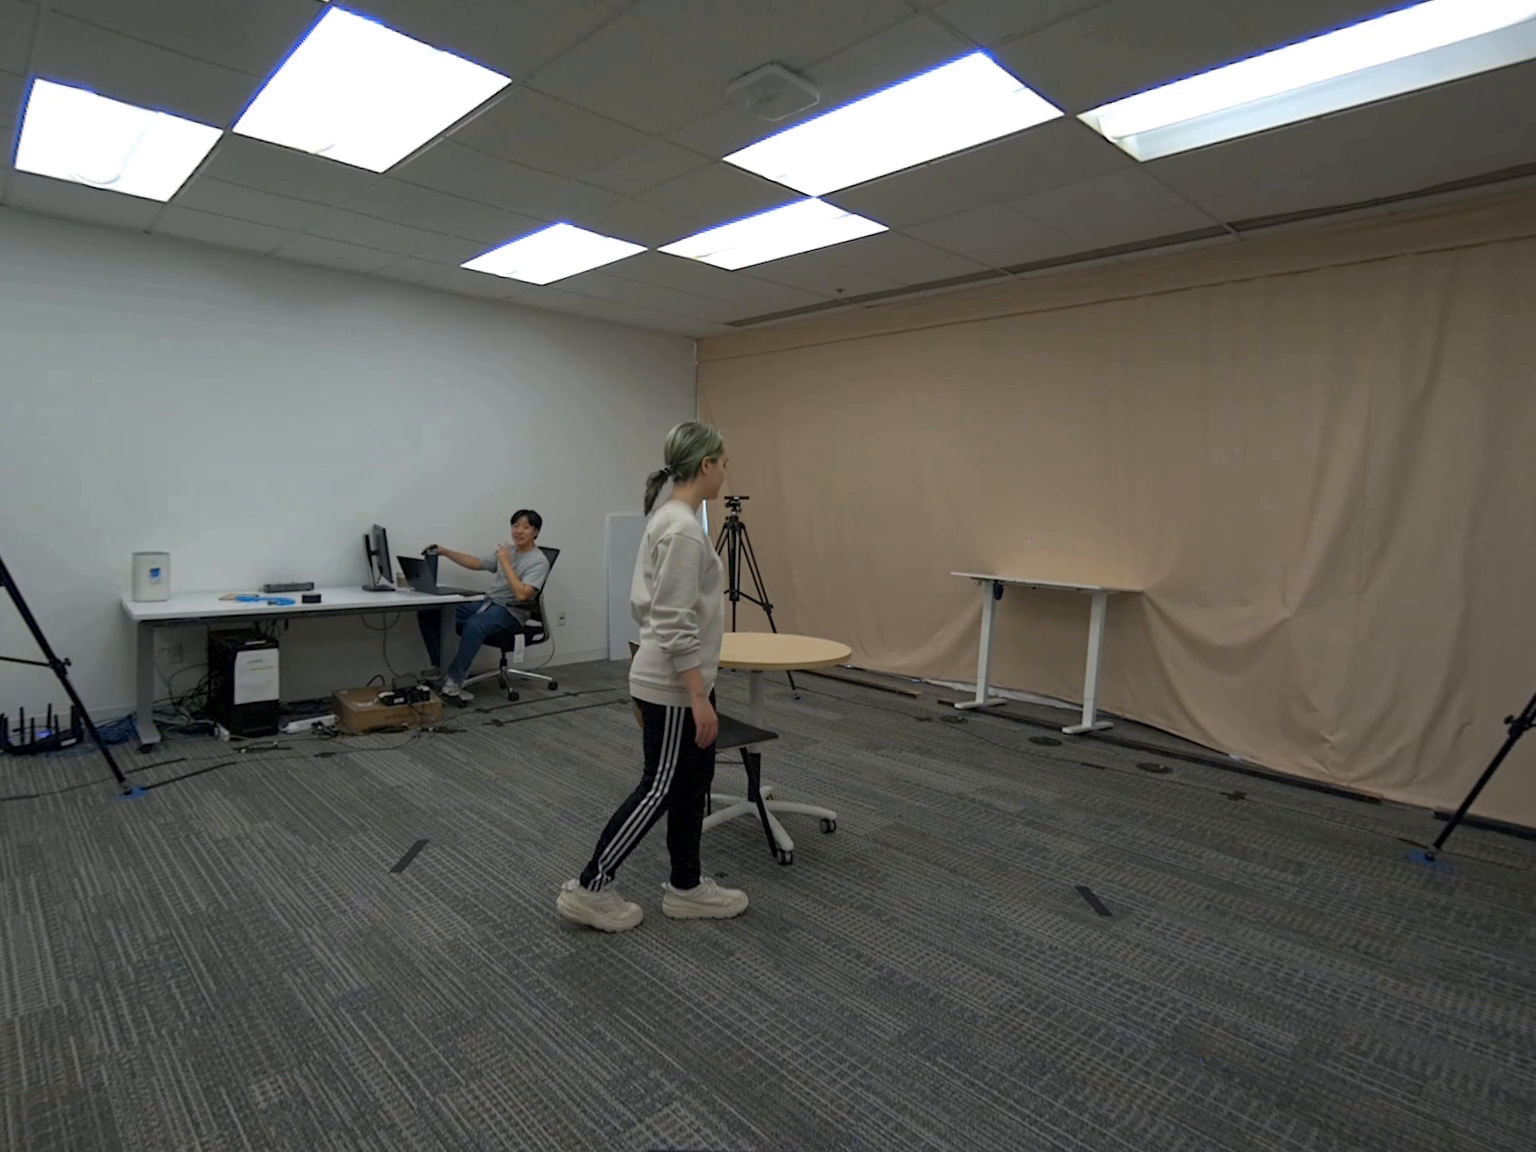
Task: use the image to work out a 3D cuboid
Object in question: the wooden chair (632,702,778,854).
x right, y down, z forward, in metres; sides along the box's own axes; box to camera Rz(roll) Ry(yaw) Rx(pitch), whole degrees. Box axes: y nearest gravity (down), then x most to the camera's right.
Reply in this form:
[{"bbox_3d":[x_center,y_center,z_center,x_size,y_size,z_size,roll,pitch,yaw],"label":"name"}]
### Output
[{"bbox_3d":[-0.263,0.659,3.280,0.512,0.874,0.490,-6,7,-38],"label":"wooden chair"}]
